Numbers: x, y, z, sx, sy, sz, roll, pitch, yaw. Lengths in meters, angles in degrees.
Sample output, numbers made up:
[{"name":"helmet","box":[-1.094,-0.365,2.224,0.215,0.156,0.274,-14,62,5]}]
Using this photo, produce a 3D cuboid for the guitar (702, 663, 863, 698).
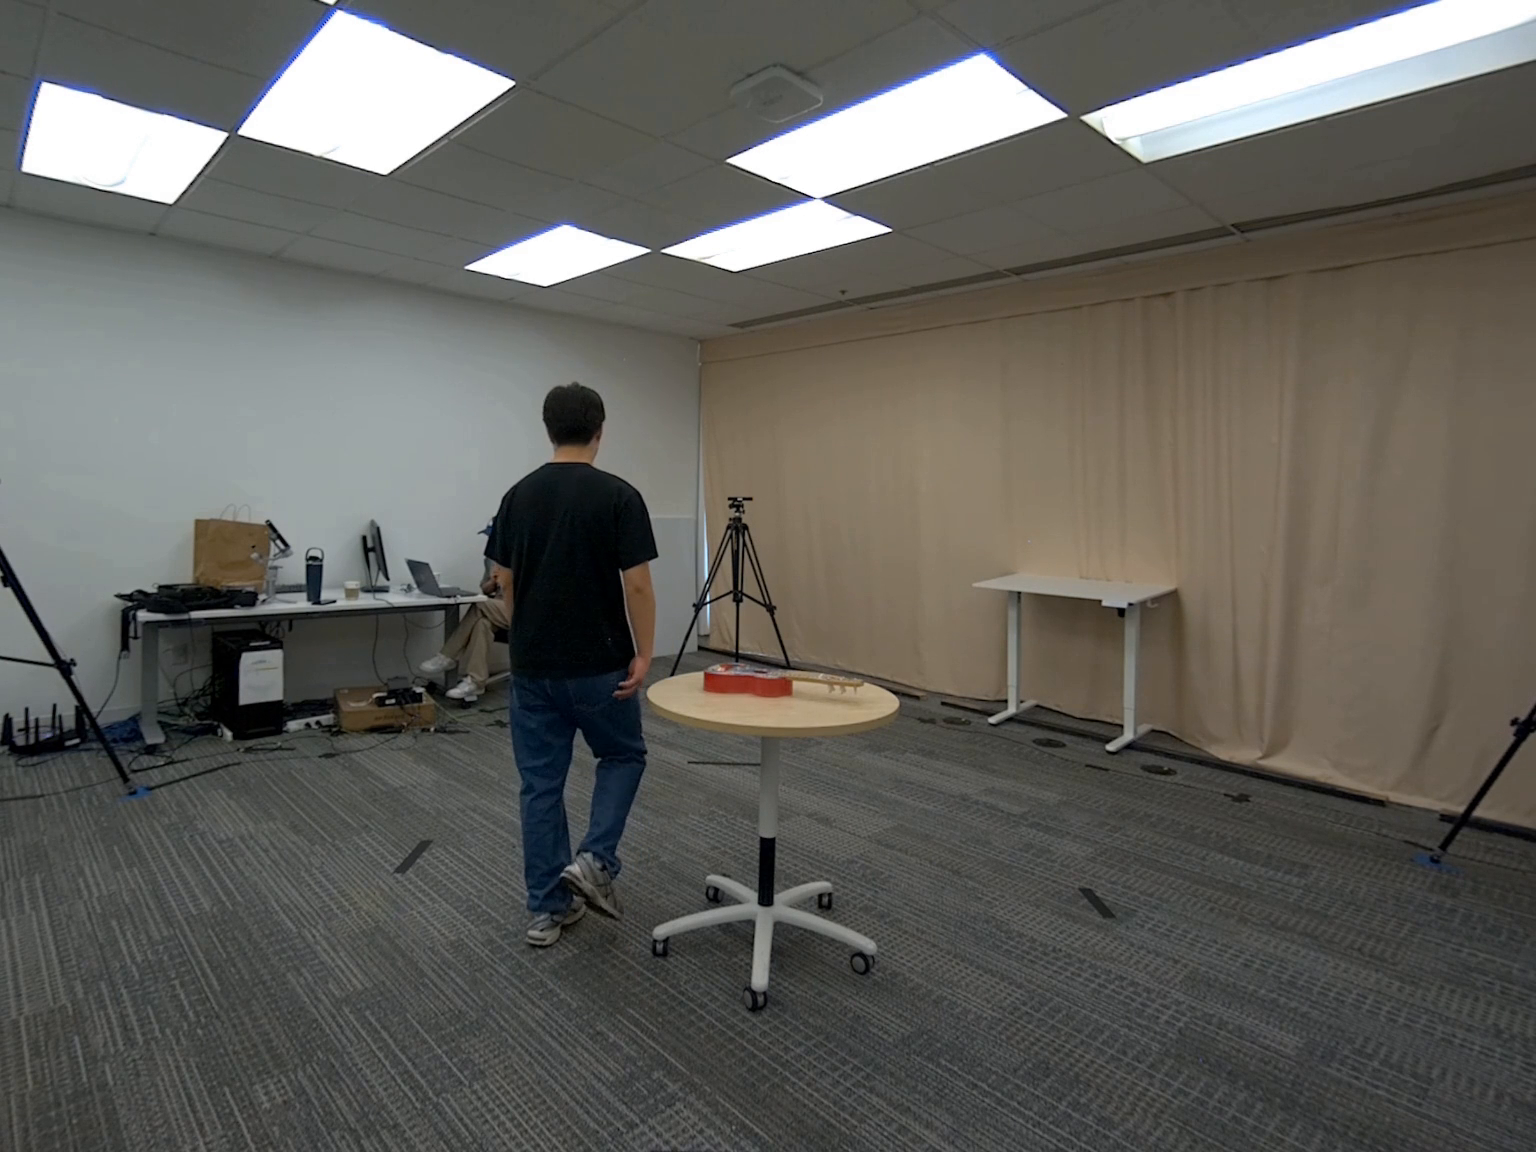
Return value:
[{"name":"guitar","box":[0.022,0.335,2.545,0.509,0.070,0.189,4,6,31]}]
